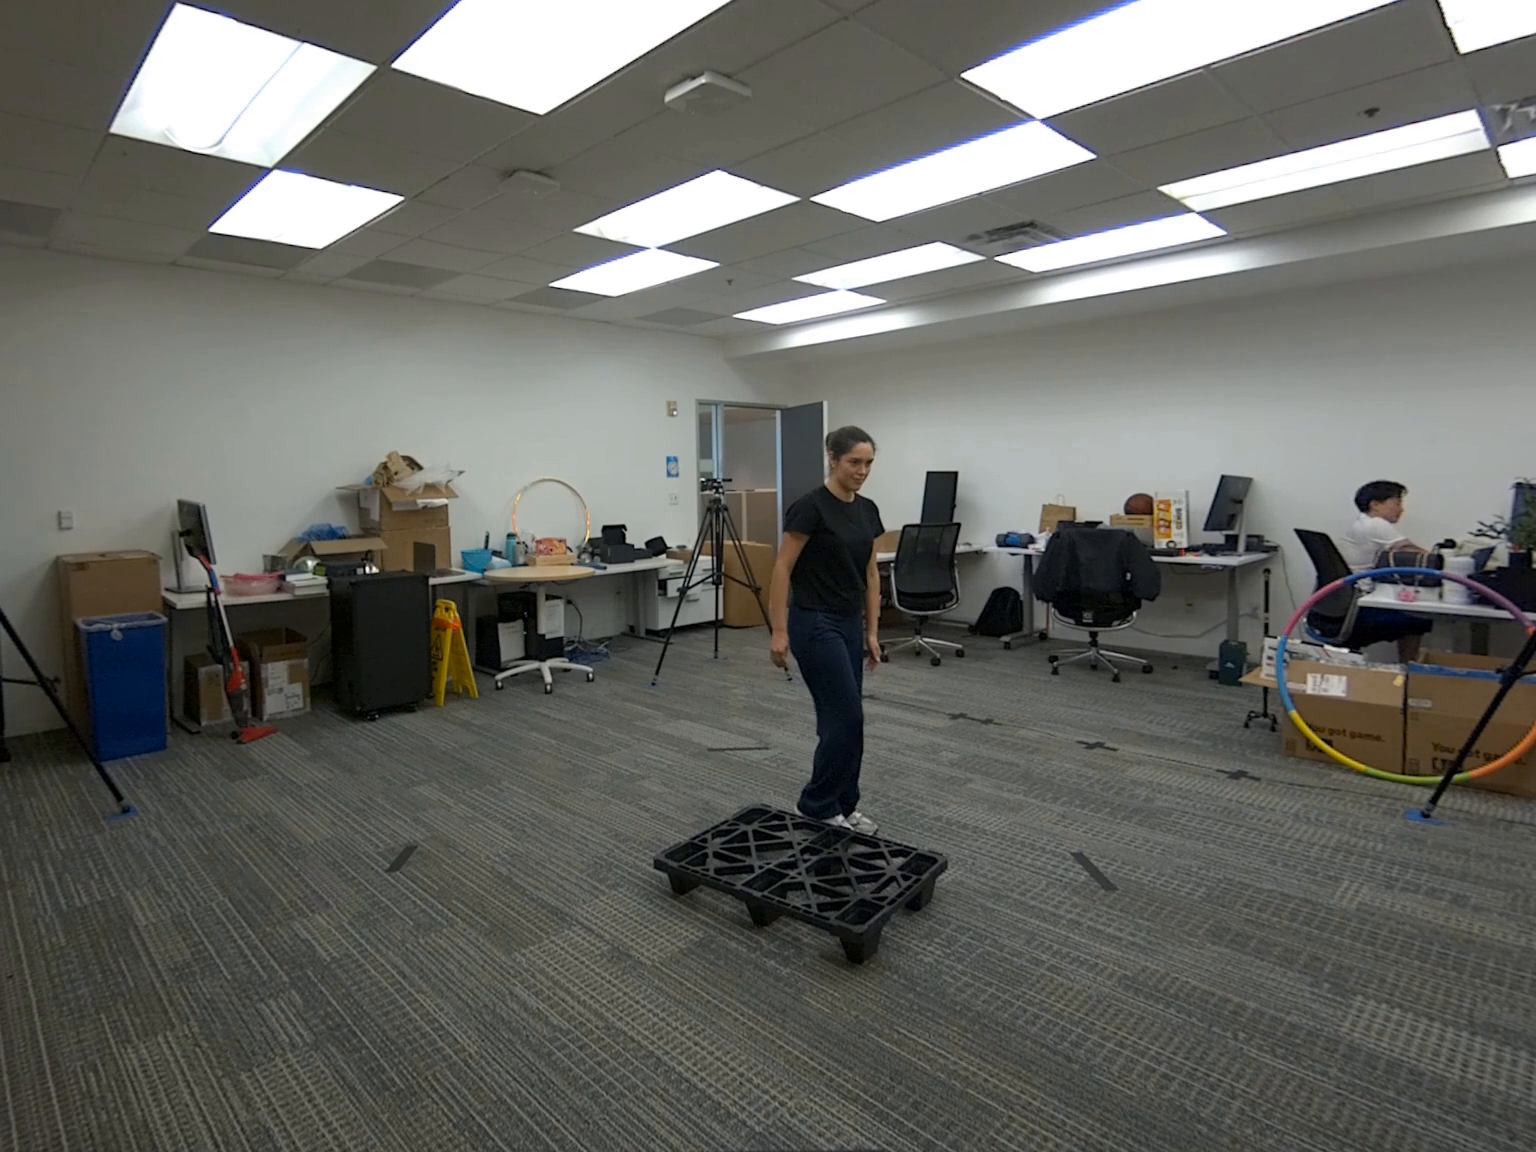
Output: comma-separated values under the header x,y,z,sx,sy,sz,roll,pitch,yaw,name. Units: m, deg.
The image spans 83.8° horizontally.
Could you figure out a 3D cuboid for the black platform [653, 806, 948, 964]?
x,y,z,sx,sy,sz,roll,pitch,yaw,name
0.104,1.002,2.873,0.829,0.143,0.590,4,8,37,black platform
